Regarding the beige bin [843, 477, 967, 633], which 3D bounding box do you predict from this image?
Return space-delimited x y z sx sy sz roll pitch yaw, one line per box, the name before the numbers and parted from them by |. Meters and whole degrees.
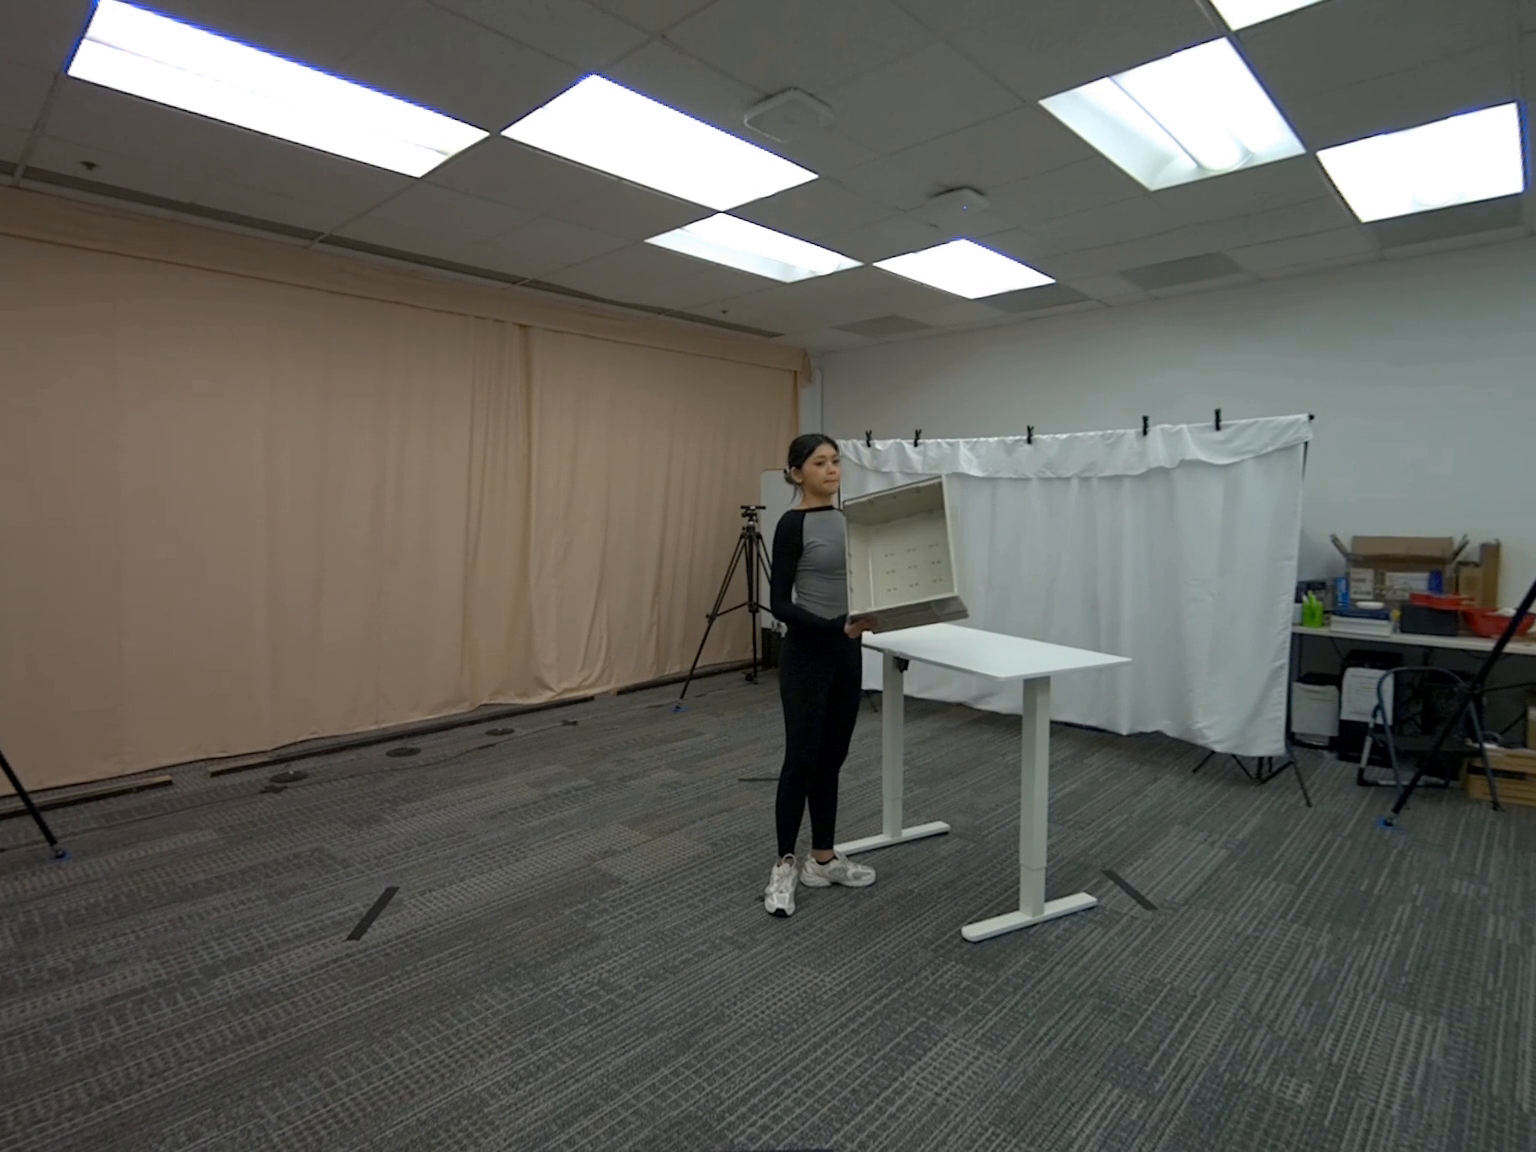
beige bin | 0.431 -0.056 2.683 0.385 0.429 0.182 -13 -32 24
